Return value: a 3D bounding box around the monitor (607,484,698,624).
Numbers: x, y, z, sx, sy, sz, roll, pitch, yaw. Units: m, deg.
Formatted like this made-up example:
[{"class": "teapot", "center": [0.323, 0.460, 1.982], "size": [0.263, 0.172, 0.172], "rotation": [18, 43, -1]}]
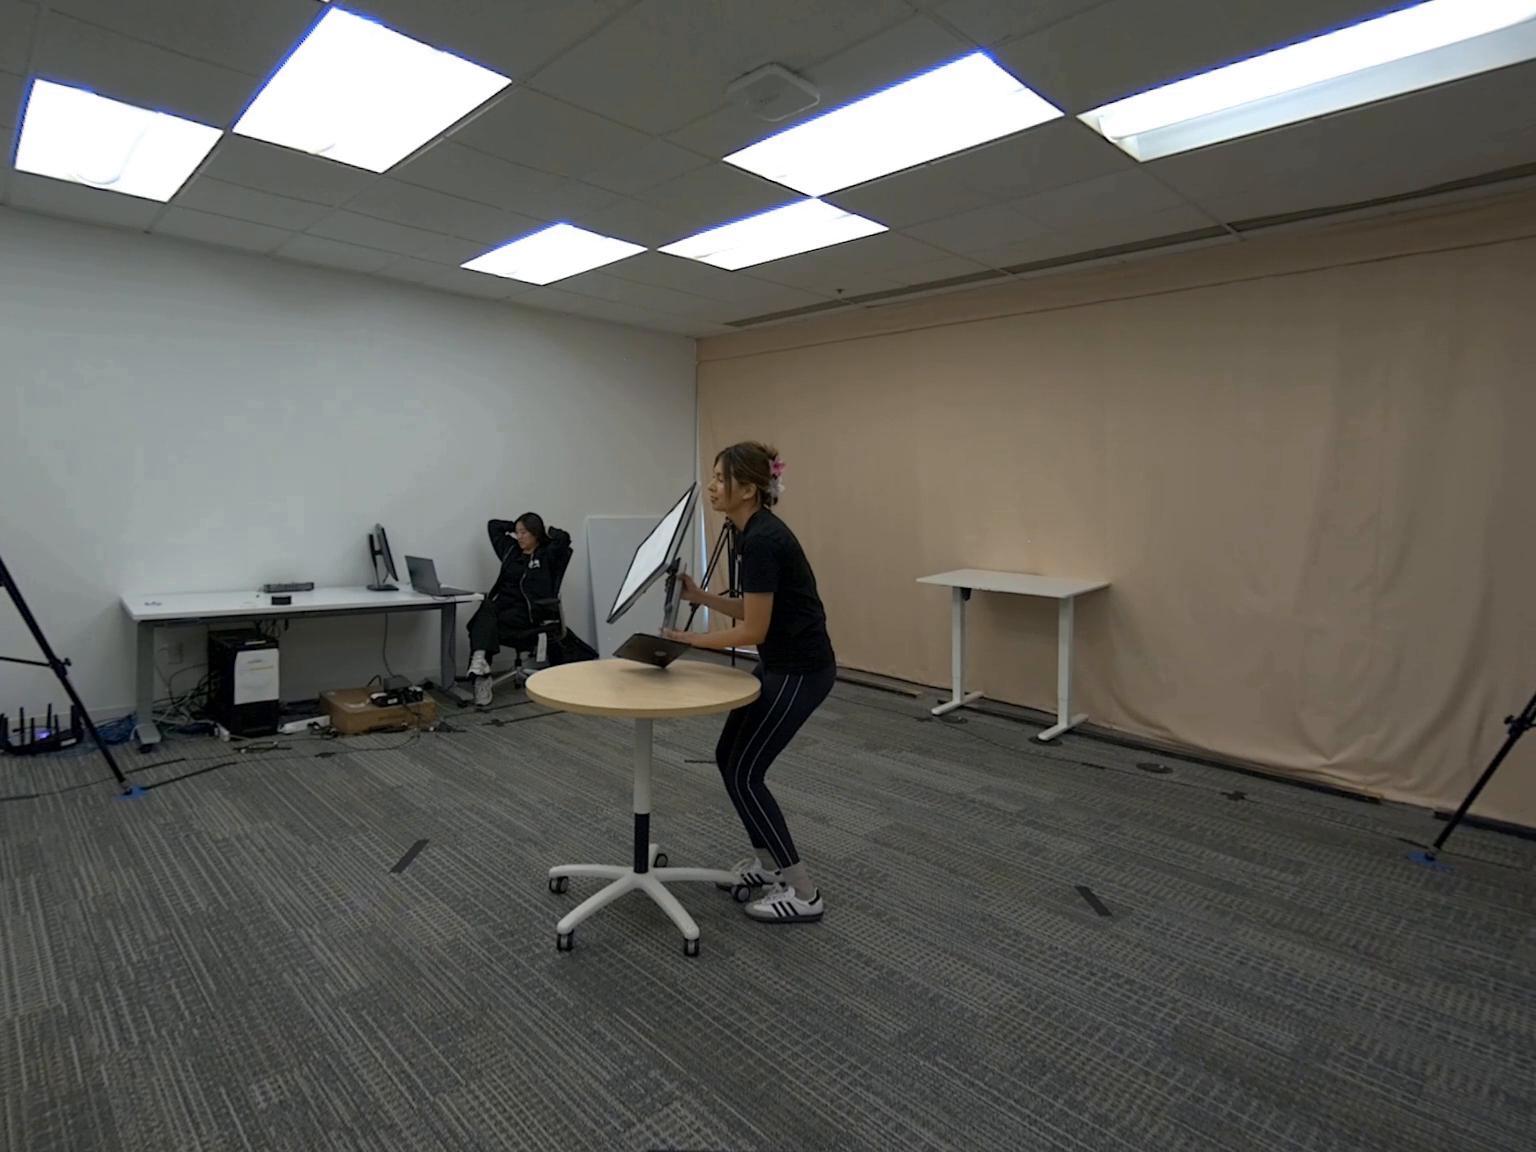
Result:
[{"class": "monitor", "center": [-0.398, 0.018, 2.988], "size": [0.183, 0.532, 0.542], "rotation": [18, -32, -27]}]
